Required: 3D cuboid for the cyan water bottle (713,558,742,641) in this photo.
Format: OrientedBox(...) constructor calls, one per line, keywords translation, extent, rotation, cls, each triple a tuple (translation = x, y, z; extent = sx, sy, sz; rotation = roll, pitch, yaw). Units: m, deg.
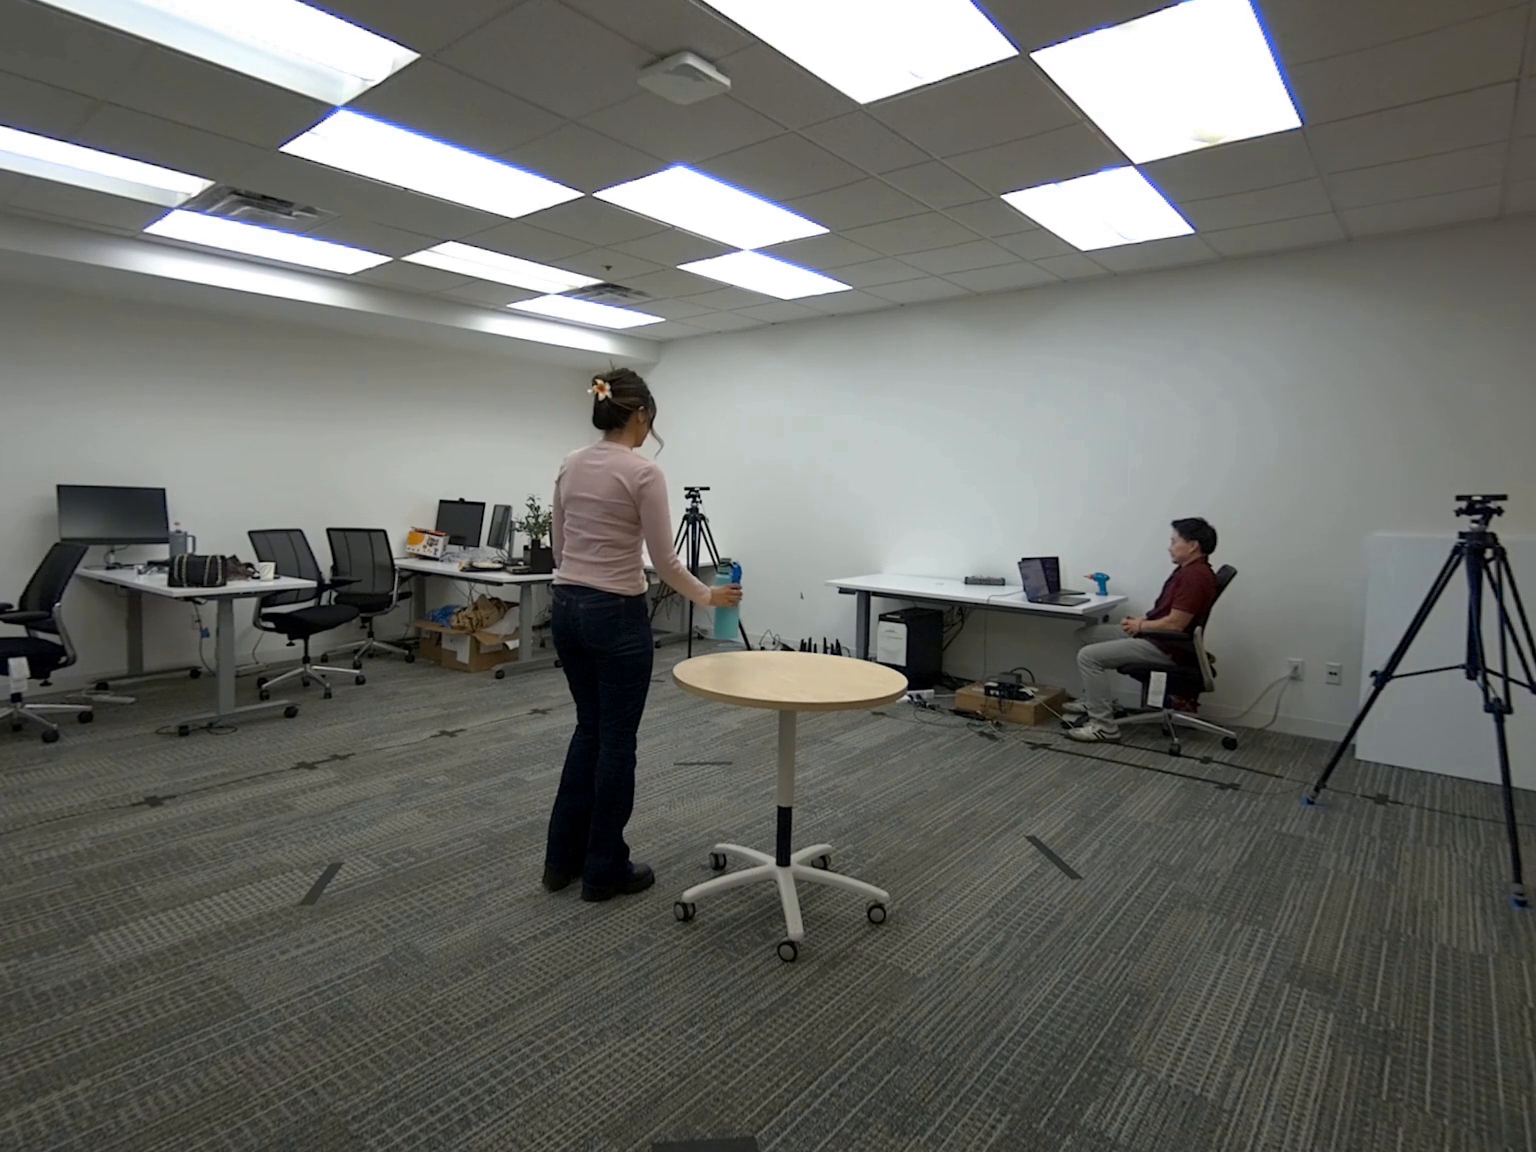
OrientedBox(translation=(-0.160, 0.081, 3.056), extent=(0.092, 0.282, 0.093), rotation=(4, 7, -2), cls="cyan water bottle")
